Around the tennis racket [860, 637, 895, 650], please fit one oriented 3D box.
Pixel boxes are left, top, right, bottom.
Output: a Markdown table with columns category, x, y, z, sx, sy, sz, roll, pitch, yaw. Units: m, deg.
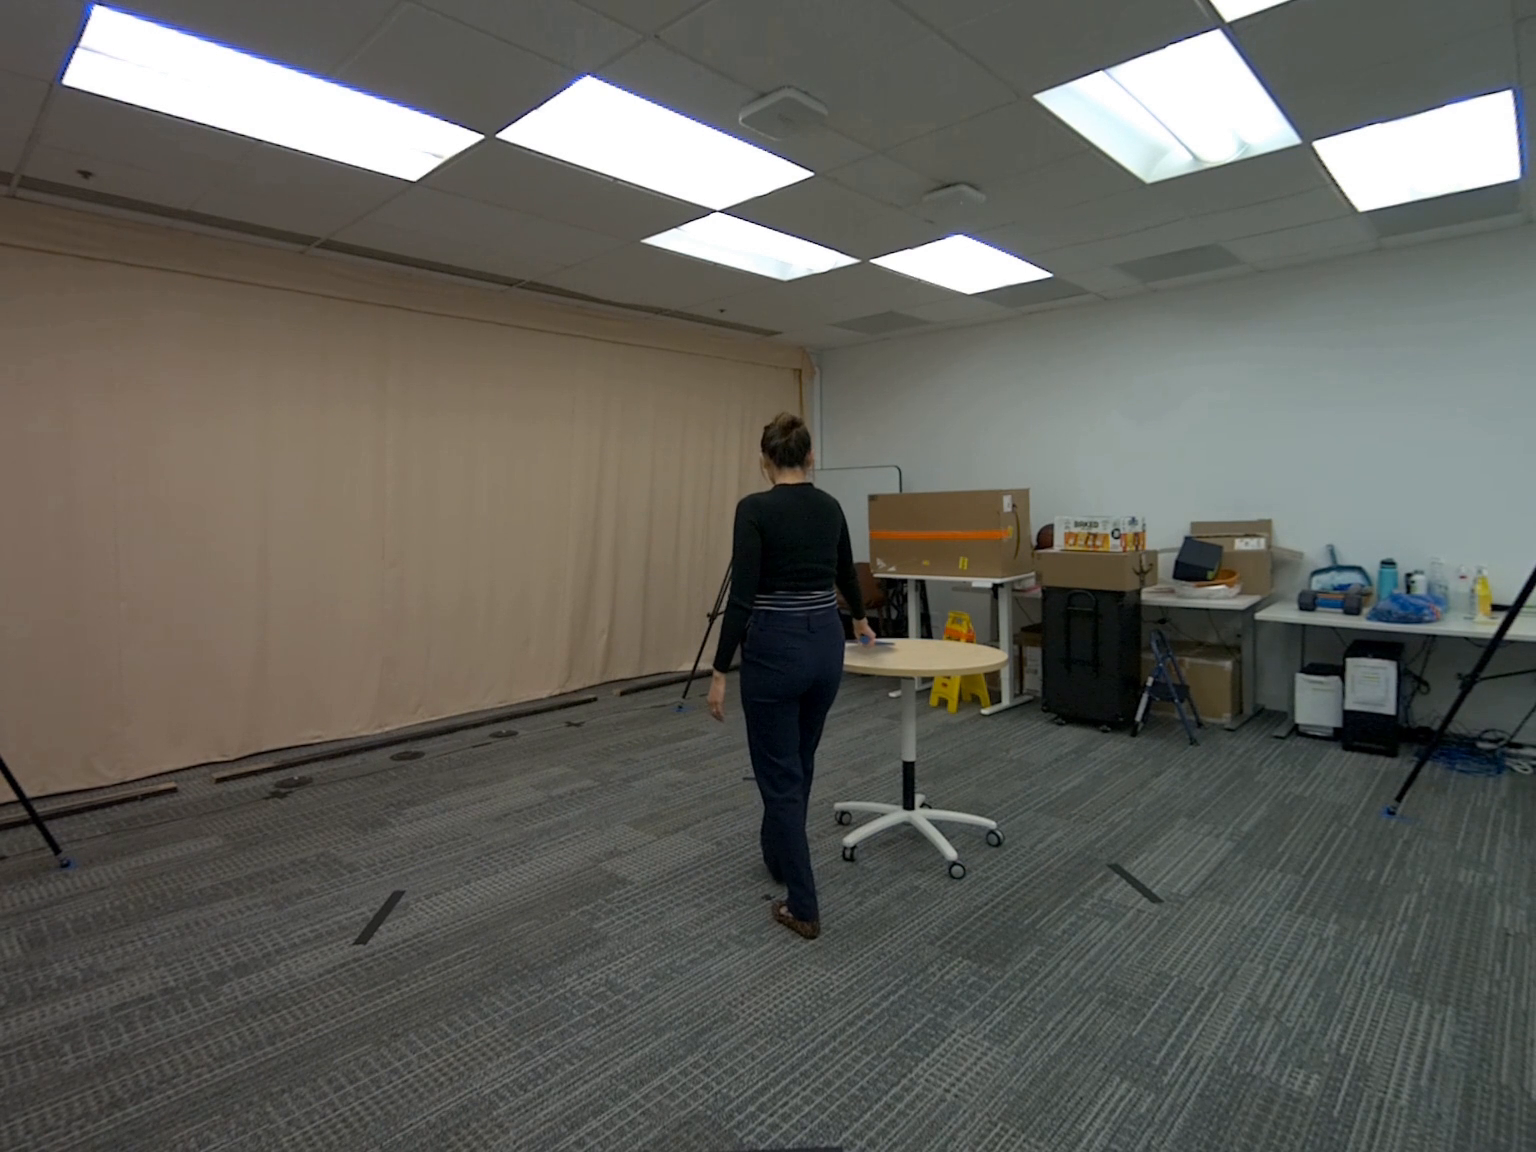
| category | x | y | z | sx | sy | sz | roll | pitch | yaw |
| --- | --- | --- | --- | --- | --- | --- | --- | --- | --- |
| tennis racket | 0.419 | 0.268 | 3.430 | 0.217 | 0.032 | 0.425 | 0 | -5 | 12 |
